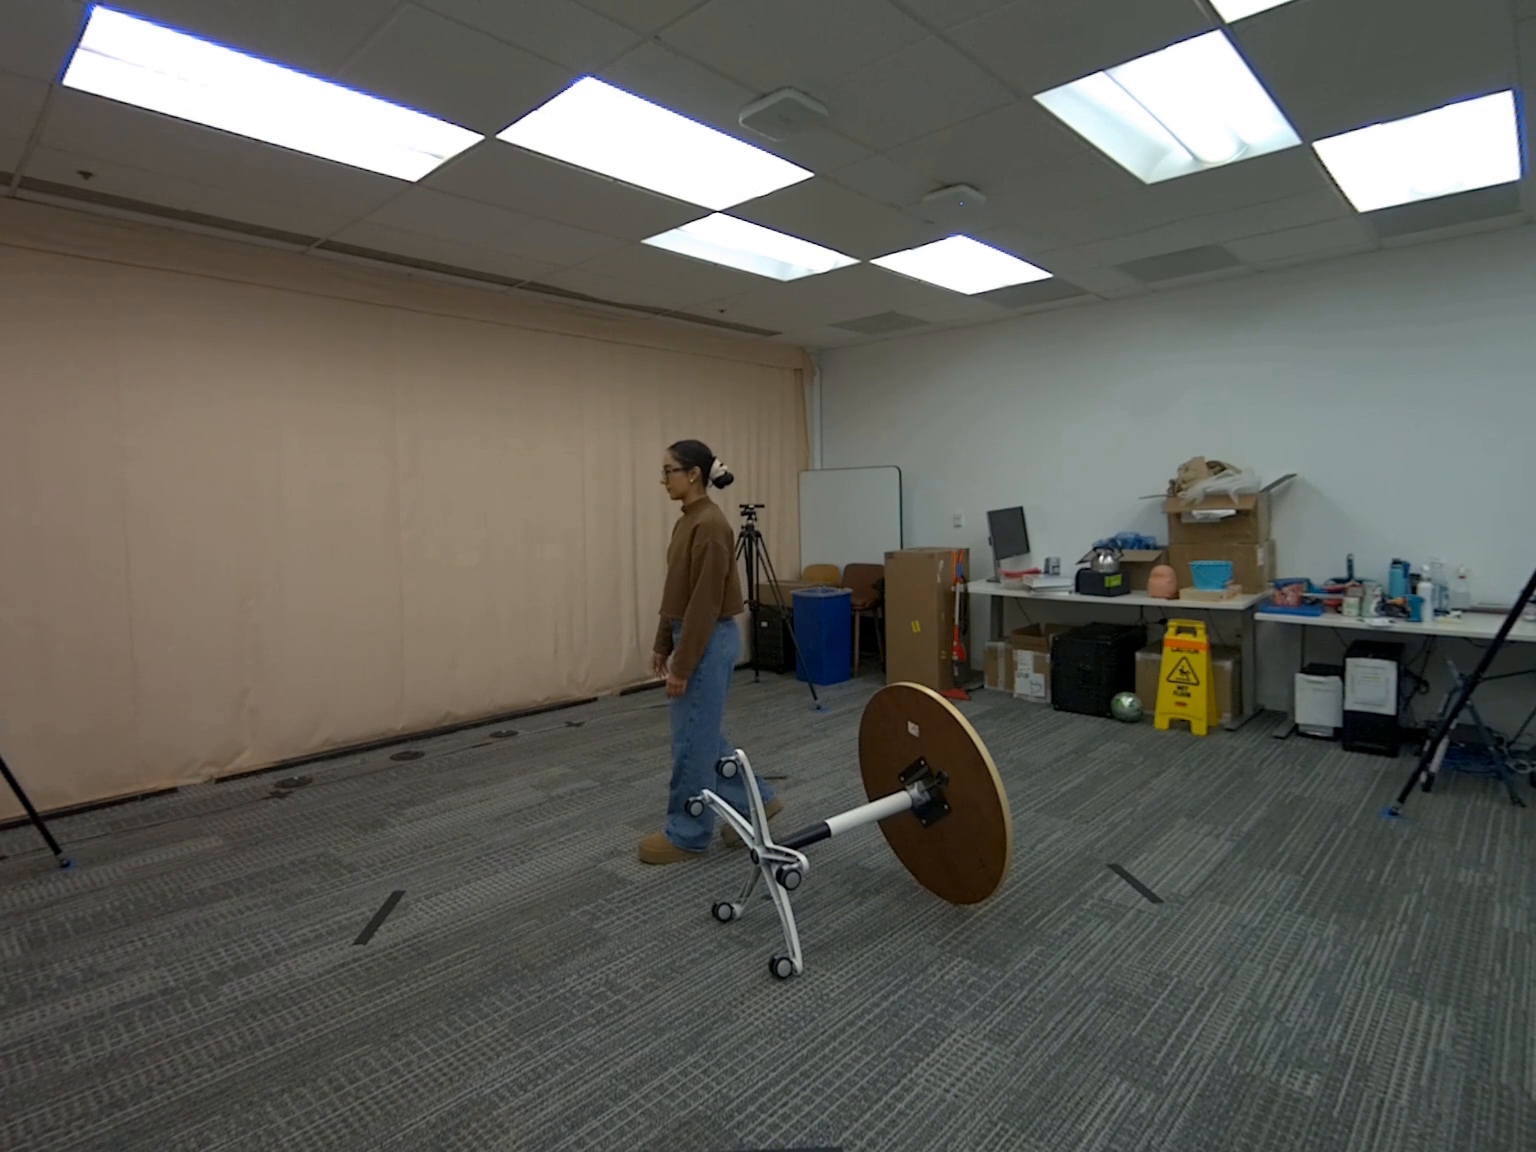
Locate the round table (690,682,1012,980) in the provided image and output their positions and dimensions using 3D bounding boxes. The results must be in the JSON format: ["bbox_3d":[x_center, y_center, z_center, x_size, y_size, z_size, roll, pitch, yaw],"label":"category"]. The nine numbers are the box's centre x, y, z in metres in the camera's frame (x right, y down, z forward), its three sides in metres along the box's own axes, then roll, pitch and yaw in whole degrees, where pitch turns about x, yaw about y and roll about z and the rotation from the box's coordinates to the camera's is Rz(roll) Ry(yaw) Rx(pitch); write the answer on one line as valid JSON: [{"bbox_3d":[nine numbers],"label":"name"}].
[{"bbox_3d":[0.235,0.819,2.773,0.777,0.760,0.785,-11,8,-27],"label":"round table"}]
